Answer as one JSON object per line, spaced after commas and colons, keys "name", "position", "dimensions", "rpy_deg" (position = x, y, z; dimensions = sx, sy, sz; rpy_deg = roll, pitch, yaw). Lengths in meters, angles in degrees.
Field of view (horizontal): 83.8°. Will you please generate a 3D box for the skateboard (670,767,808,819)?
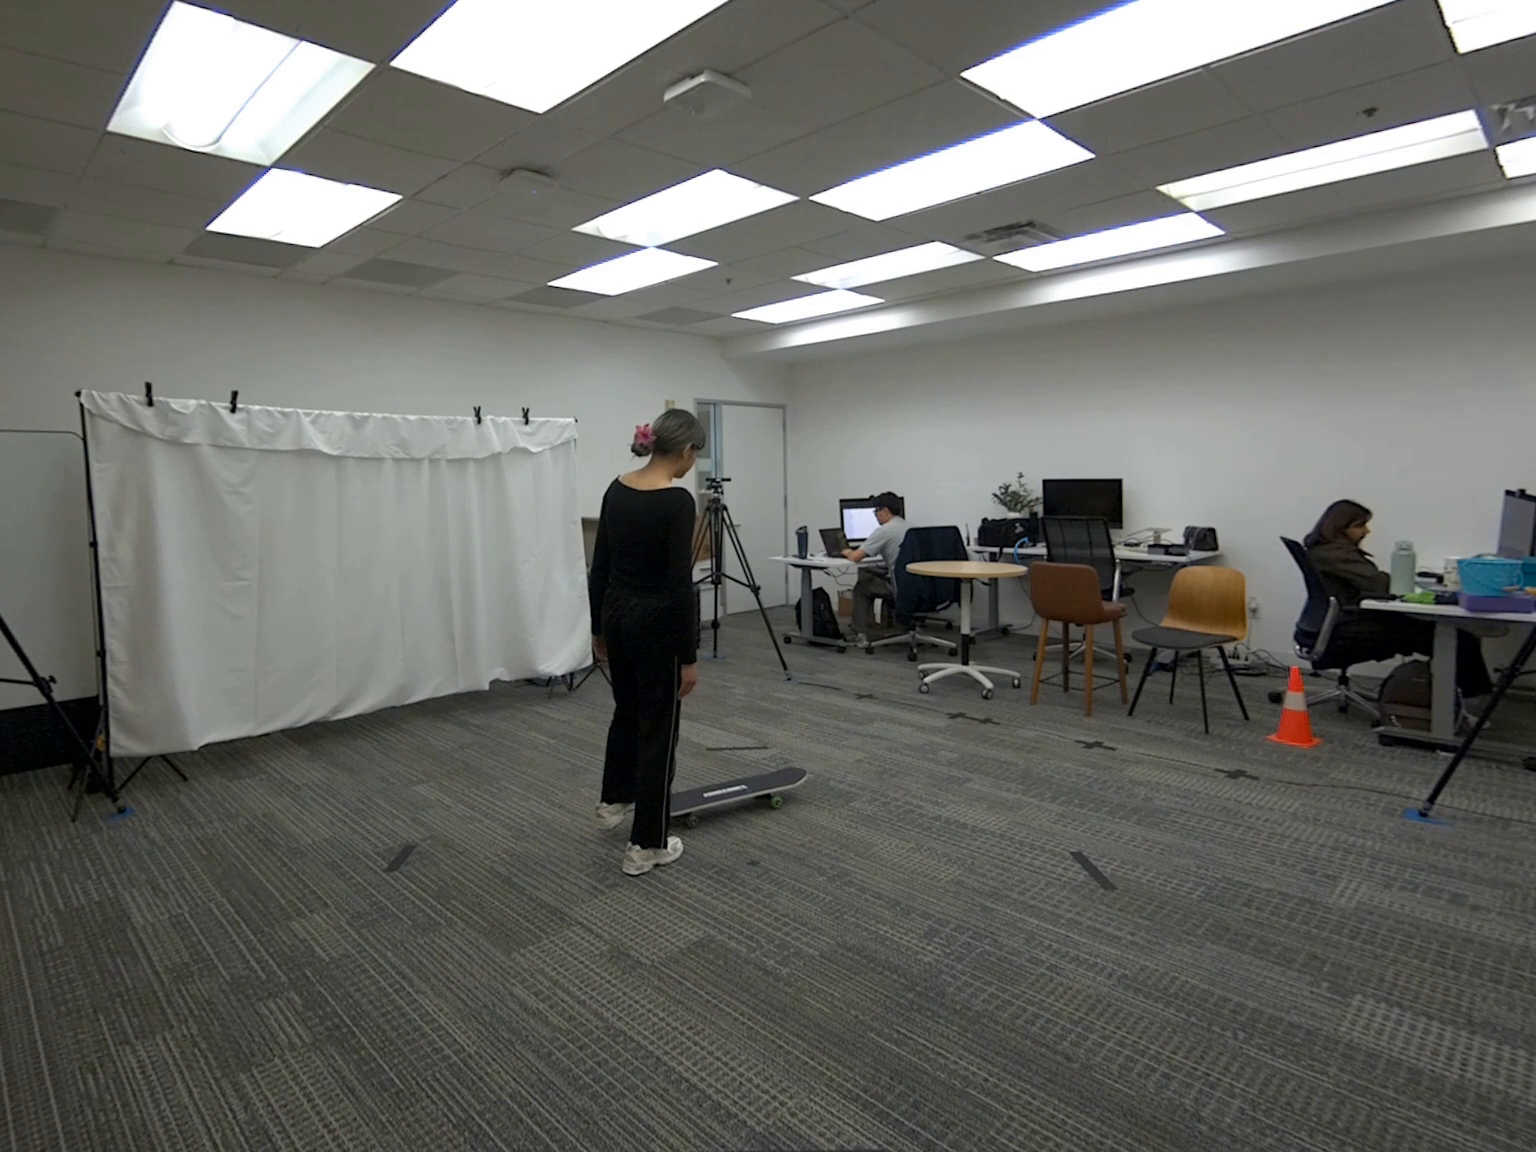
{"name": "skateboard", "position": [-0.175, 0.932, 3.581], "dimensions": [0.768, 0.110, 0.199], "rpy_deg": [-5, 6, -28]}
